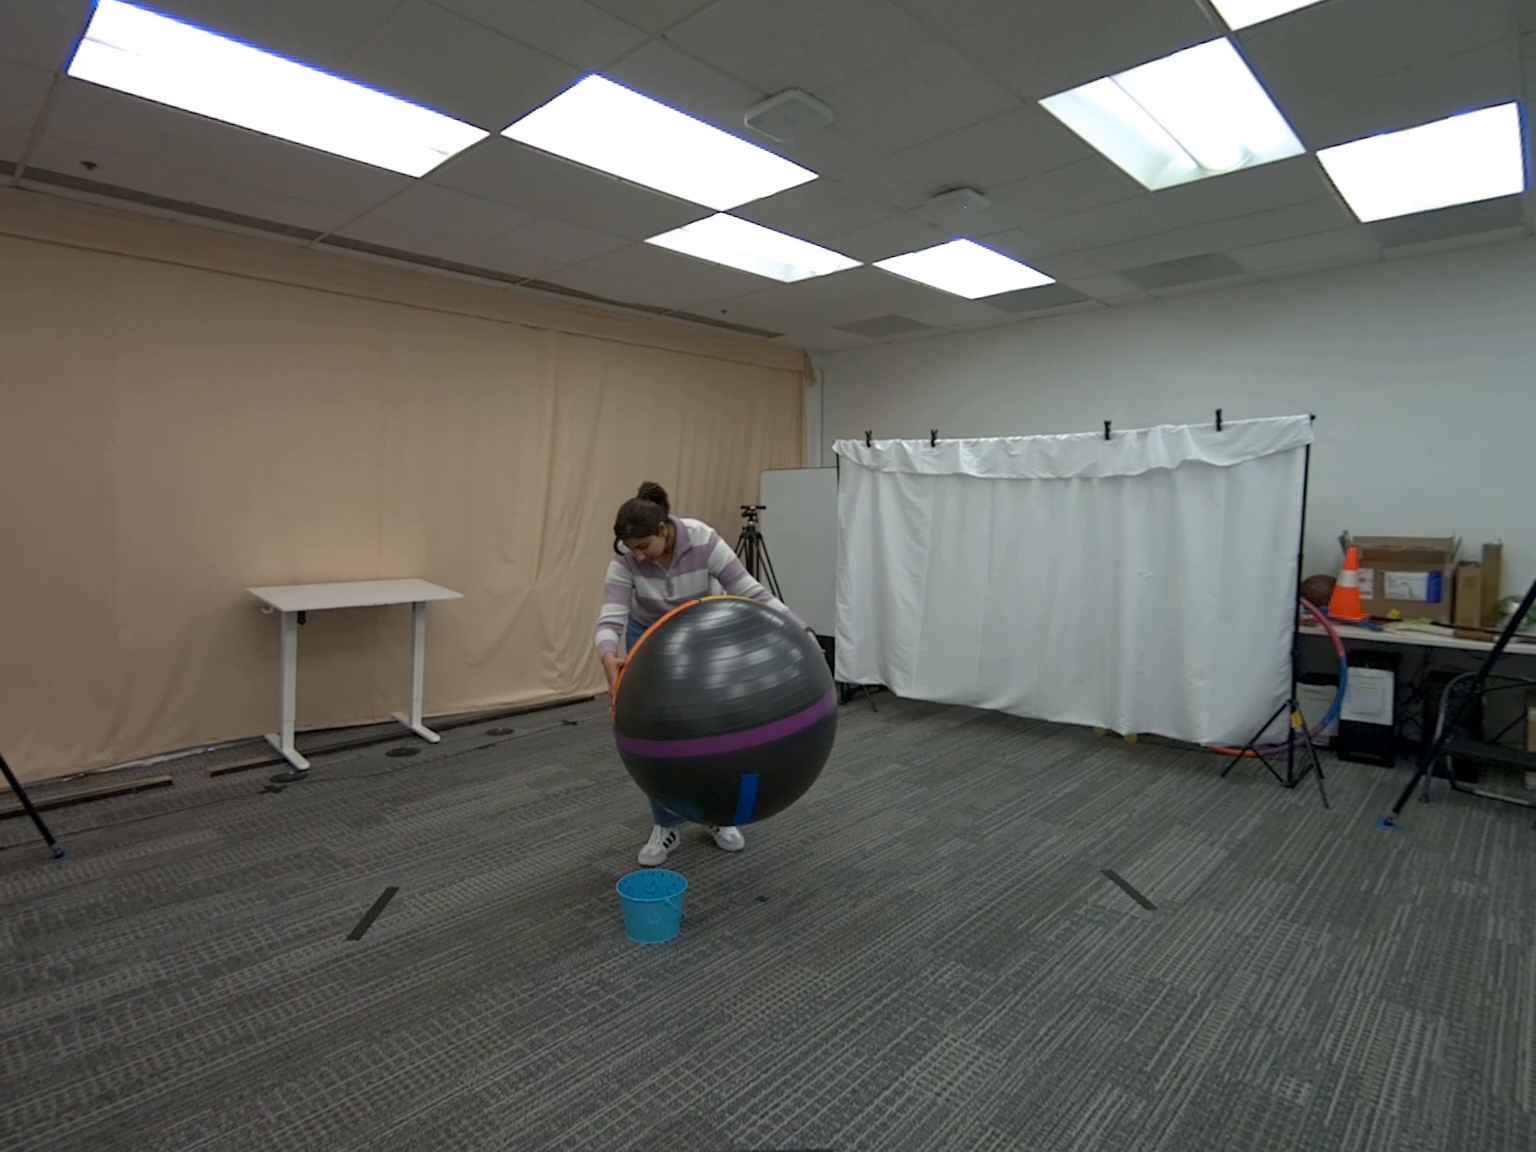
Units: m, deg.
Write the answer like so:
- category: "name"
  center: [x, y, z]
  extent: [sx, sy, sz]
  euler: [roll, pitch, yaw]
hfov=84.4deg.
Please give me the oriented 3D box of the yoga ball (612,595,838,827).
- category: "yoga ball"
  center: [-0.149, 0.462, 2.855]
  extent: [0.757, 0.756, 0.760]
  euler: [0, 4, -2]
